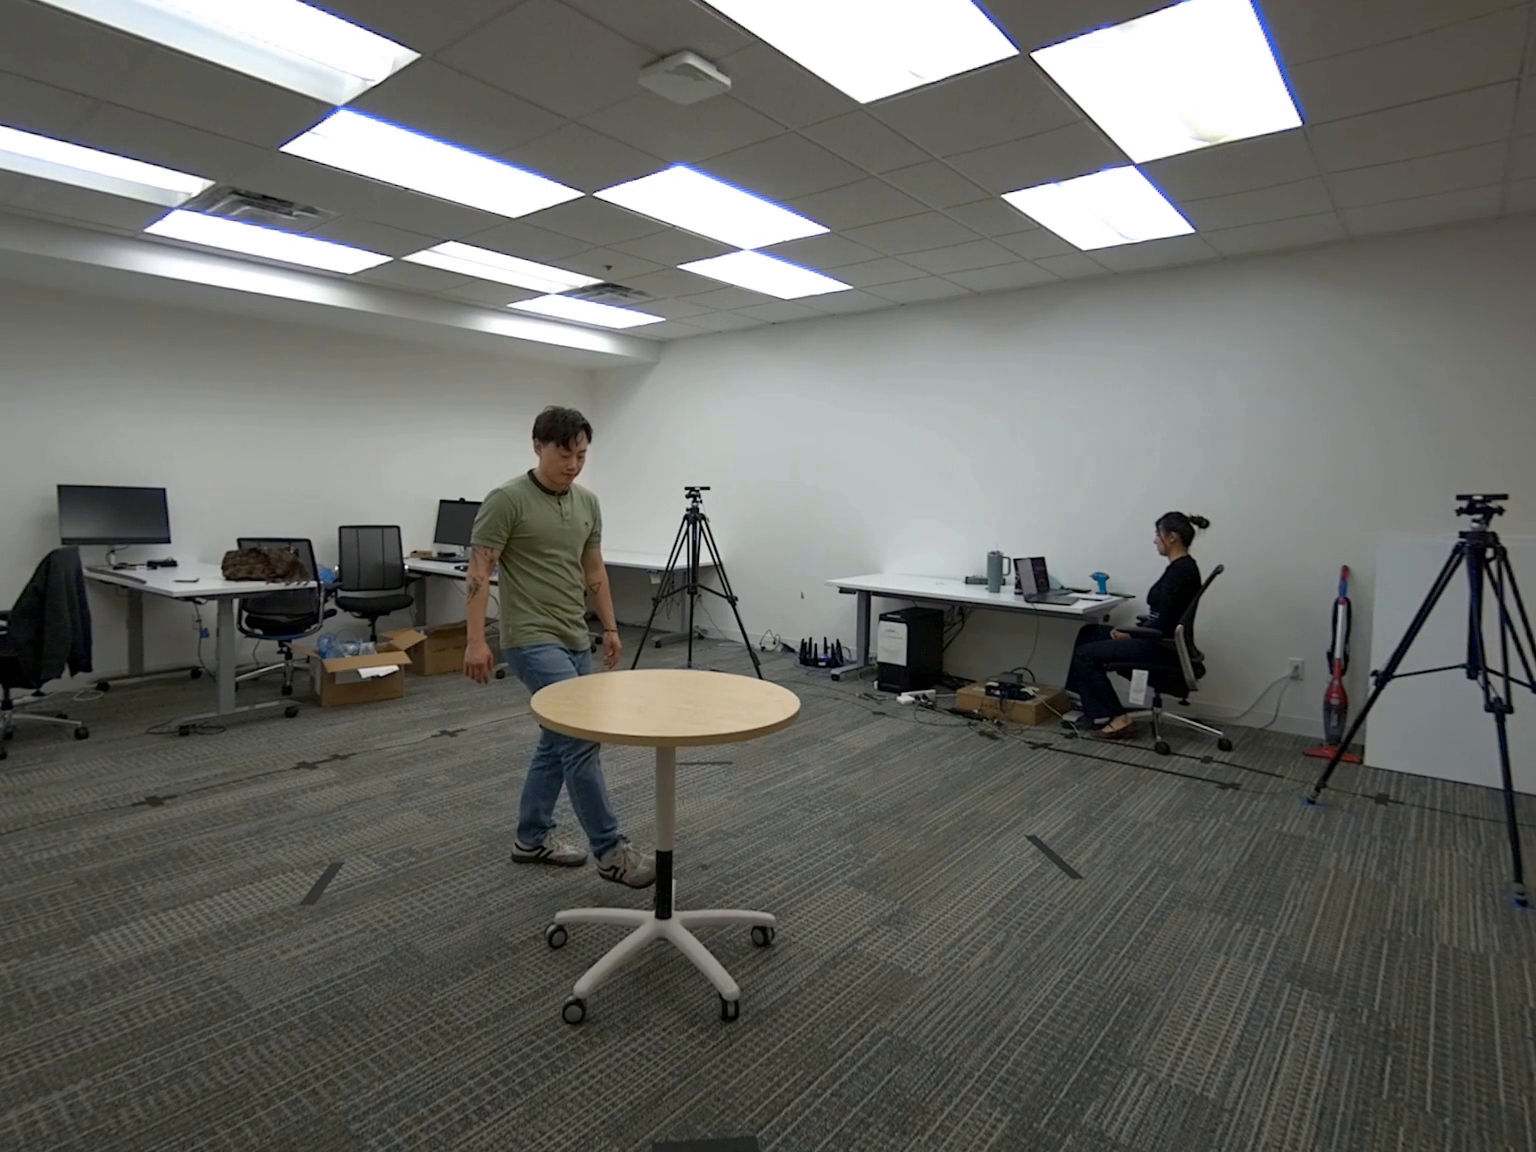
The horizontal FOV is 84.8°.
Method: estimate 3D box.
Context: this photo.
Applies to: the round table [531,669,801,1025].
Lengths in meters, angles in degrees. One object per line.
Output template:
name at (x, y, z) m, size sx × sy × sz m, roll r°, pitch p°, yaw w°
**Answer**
round table at (-0.312, 0.742, 2.458) m, size 0.763 × 0.791 × 0.768 m, roll 1°, pitch 4°, yaw -2°
